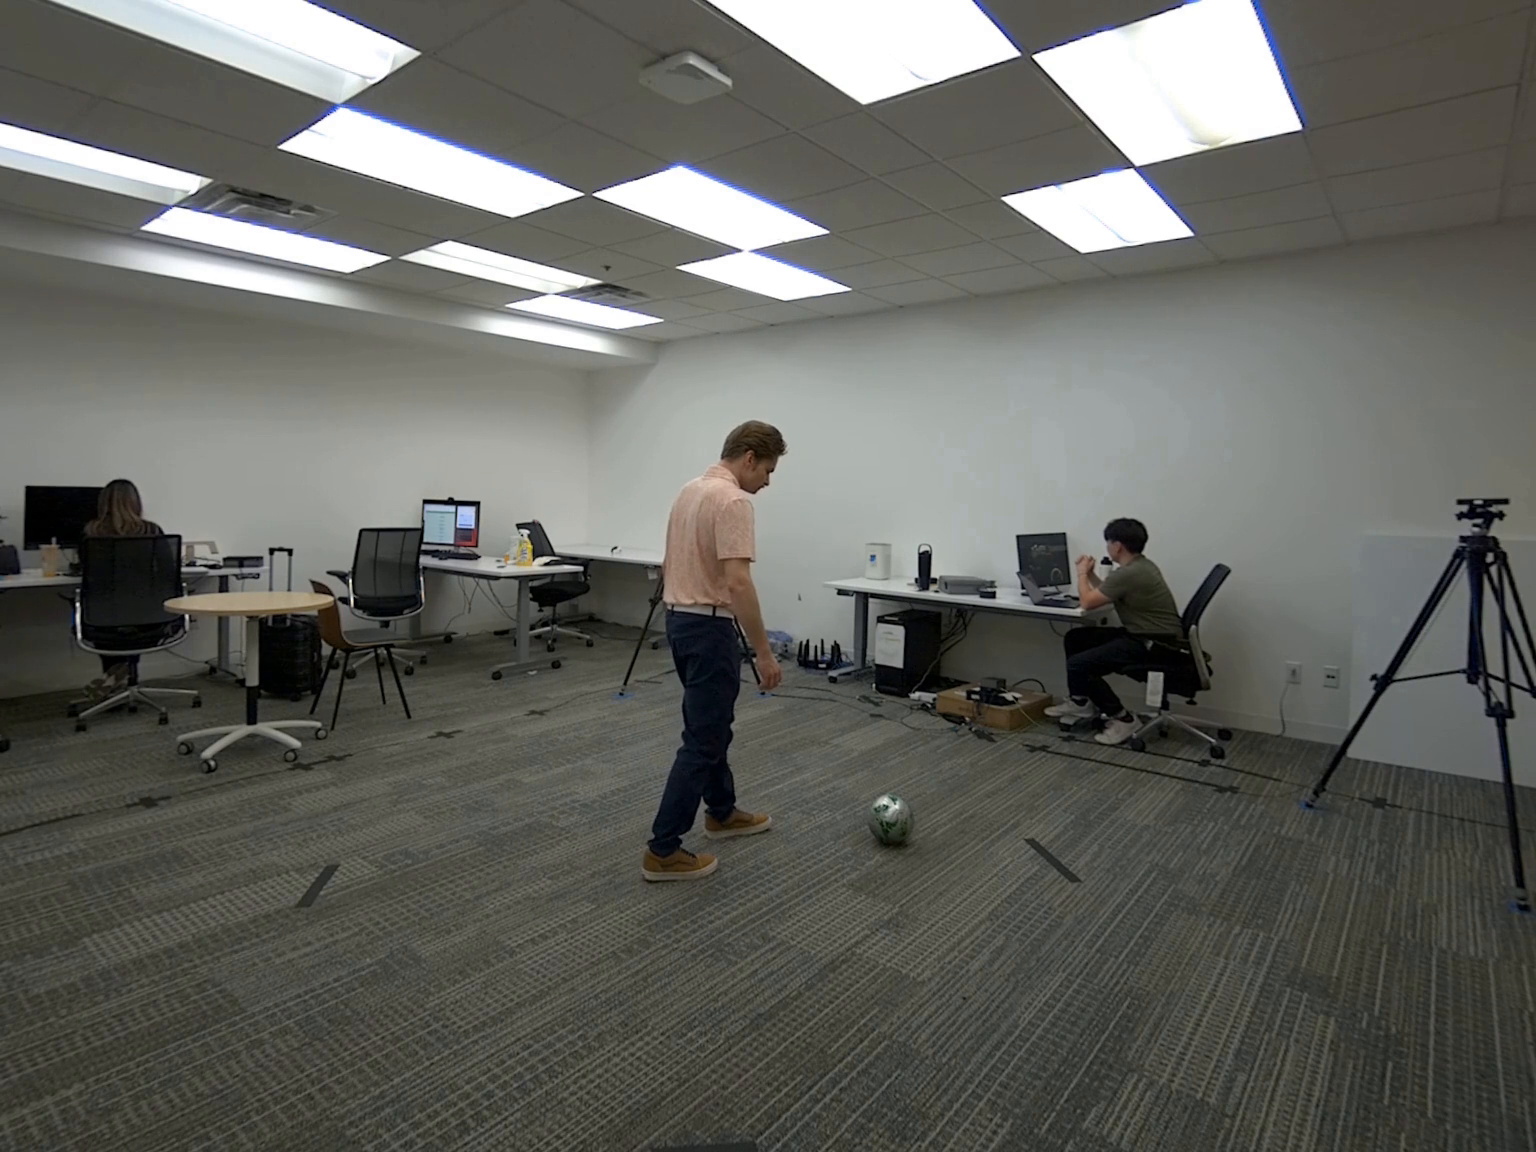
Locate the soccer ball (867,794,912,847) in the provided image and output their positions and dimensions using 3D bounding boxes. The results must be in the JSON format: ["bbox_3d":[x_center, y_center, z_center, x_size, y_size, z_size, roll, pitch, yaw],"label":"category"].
[{"bbox_3d":[0.485,0.968,3.389,0.187,0.187,0.188,1,4,-2],"label":"soccer ball"}]
